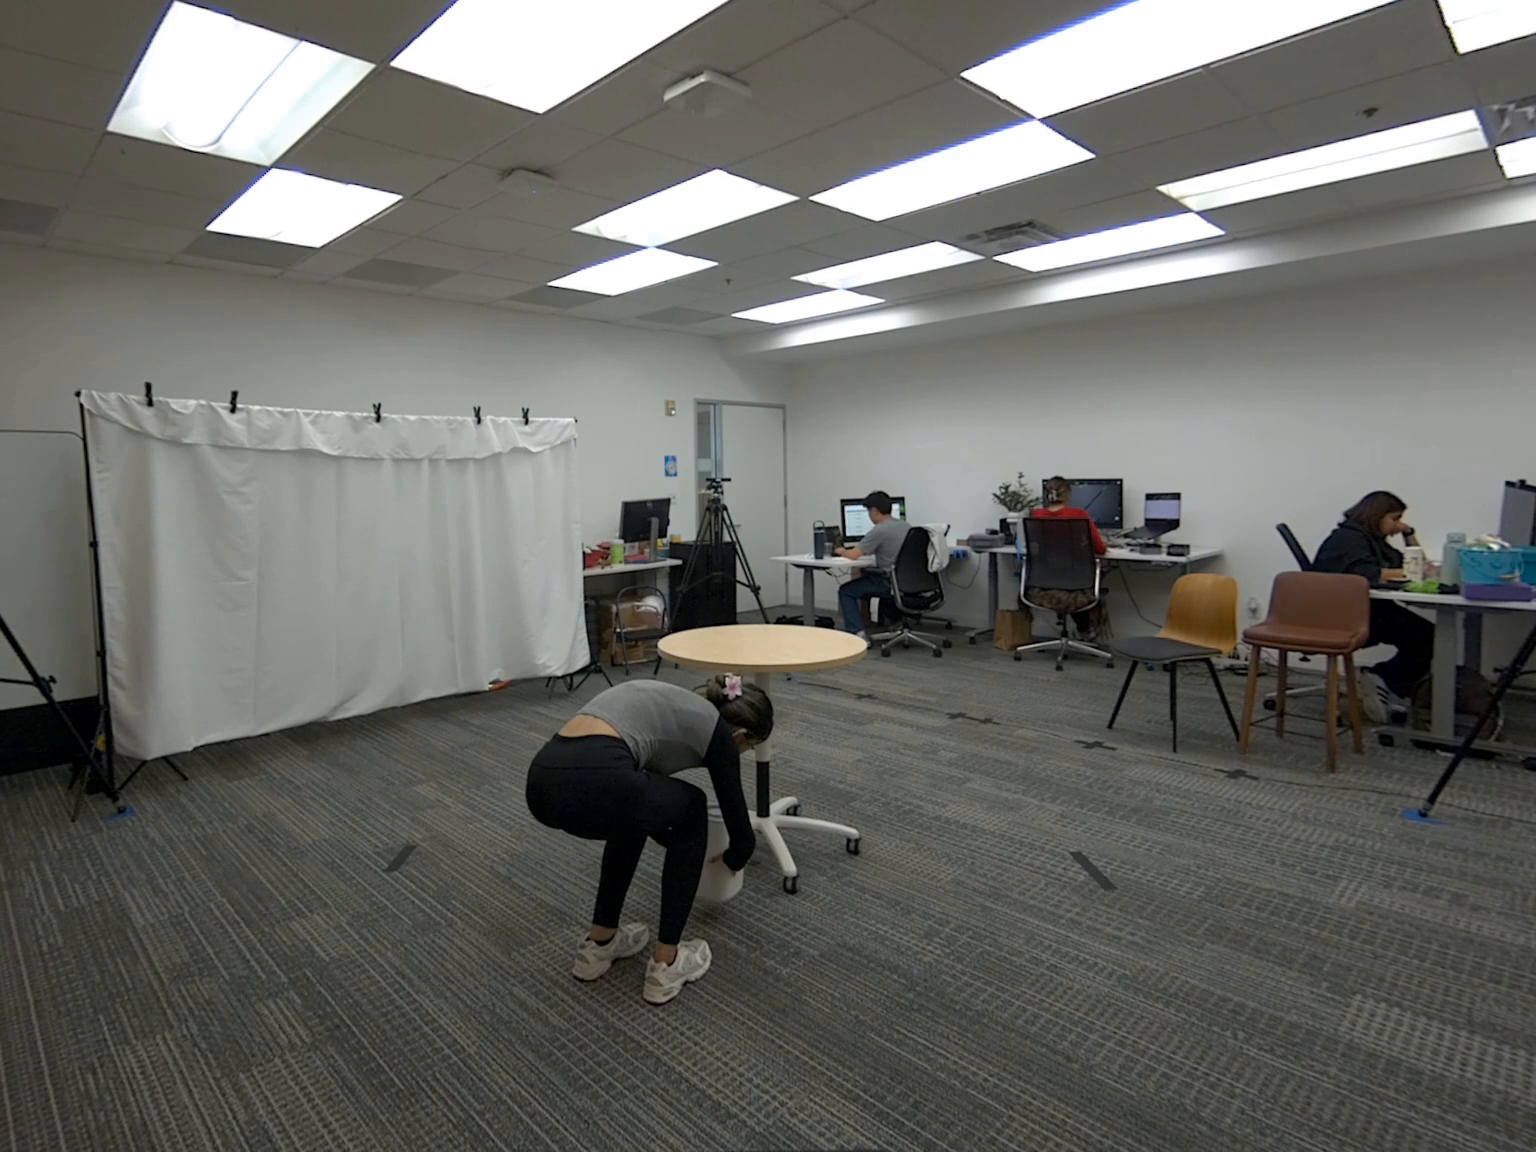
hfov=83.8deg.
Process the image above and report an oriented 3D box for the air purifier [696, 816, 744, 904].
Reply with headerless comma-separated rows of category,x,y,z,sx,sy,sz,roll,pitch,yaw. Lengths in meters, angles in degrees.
air purifier,-0.156,0.894,2.756,0.175,0.265,0.168,3,0,22
